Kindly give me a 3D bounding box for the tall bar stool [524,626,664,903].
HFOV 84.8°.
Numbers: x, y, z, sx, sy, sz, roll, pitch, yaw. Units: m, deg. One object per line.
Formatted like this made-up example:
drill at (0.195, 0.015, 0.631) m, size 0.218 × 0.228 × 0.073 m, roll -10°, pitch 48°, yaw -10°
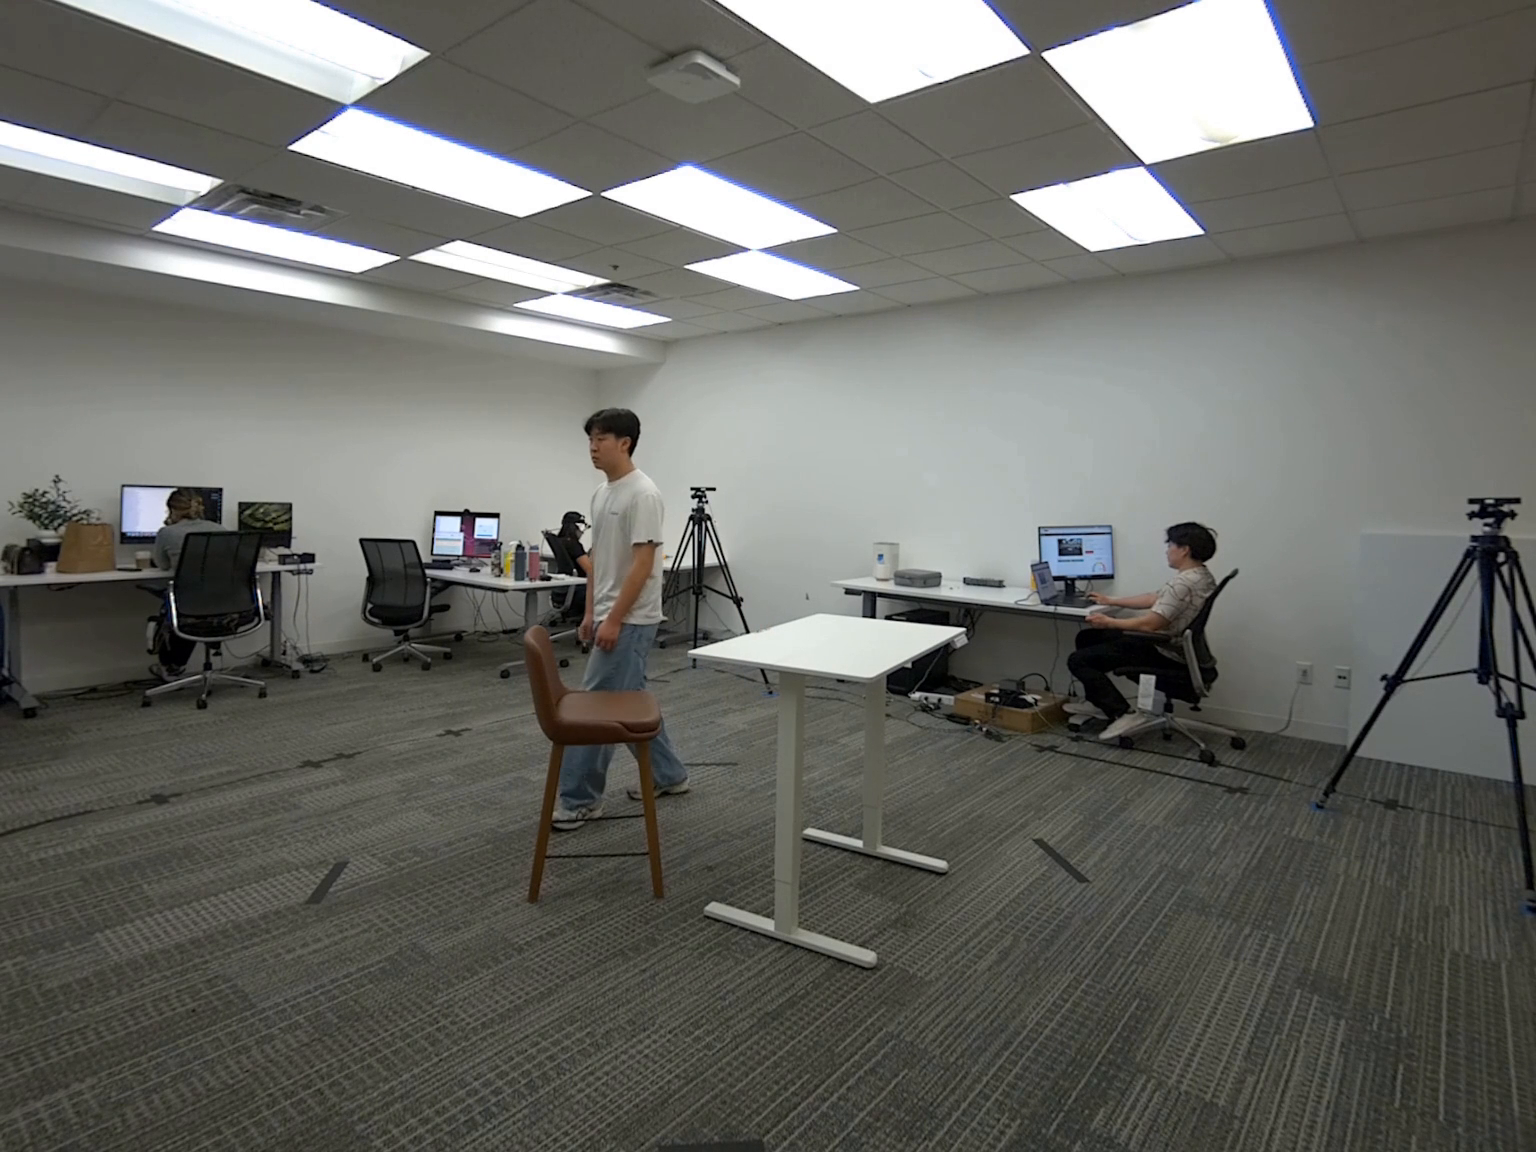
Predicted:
tall bar stool at (-0.620, 0.635, 3.022) m, size 0.463 × 0.888 × 0.462 m, roll -1°, pitch 3°, yaw -10°
